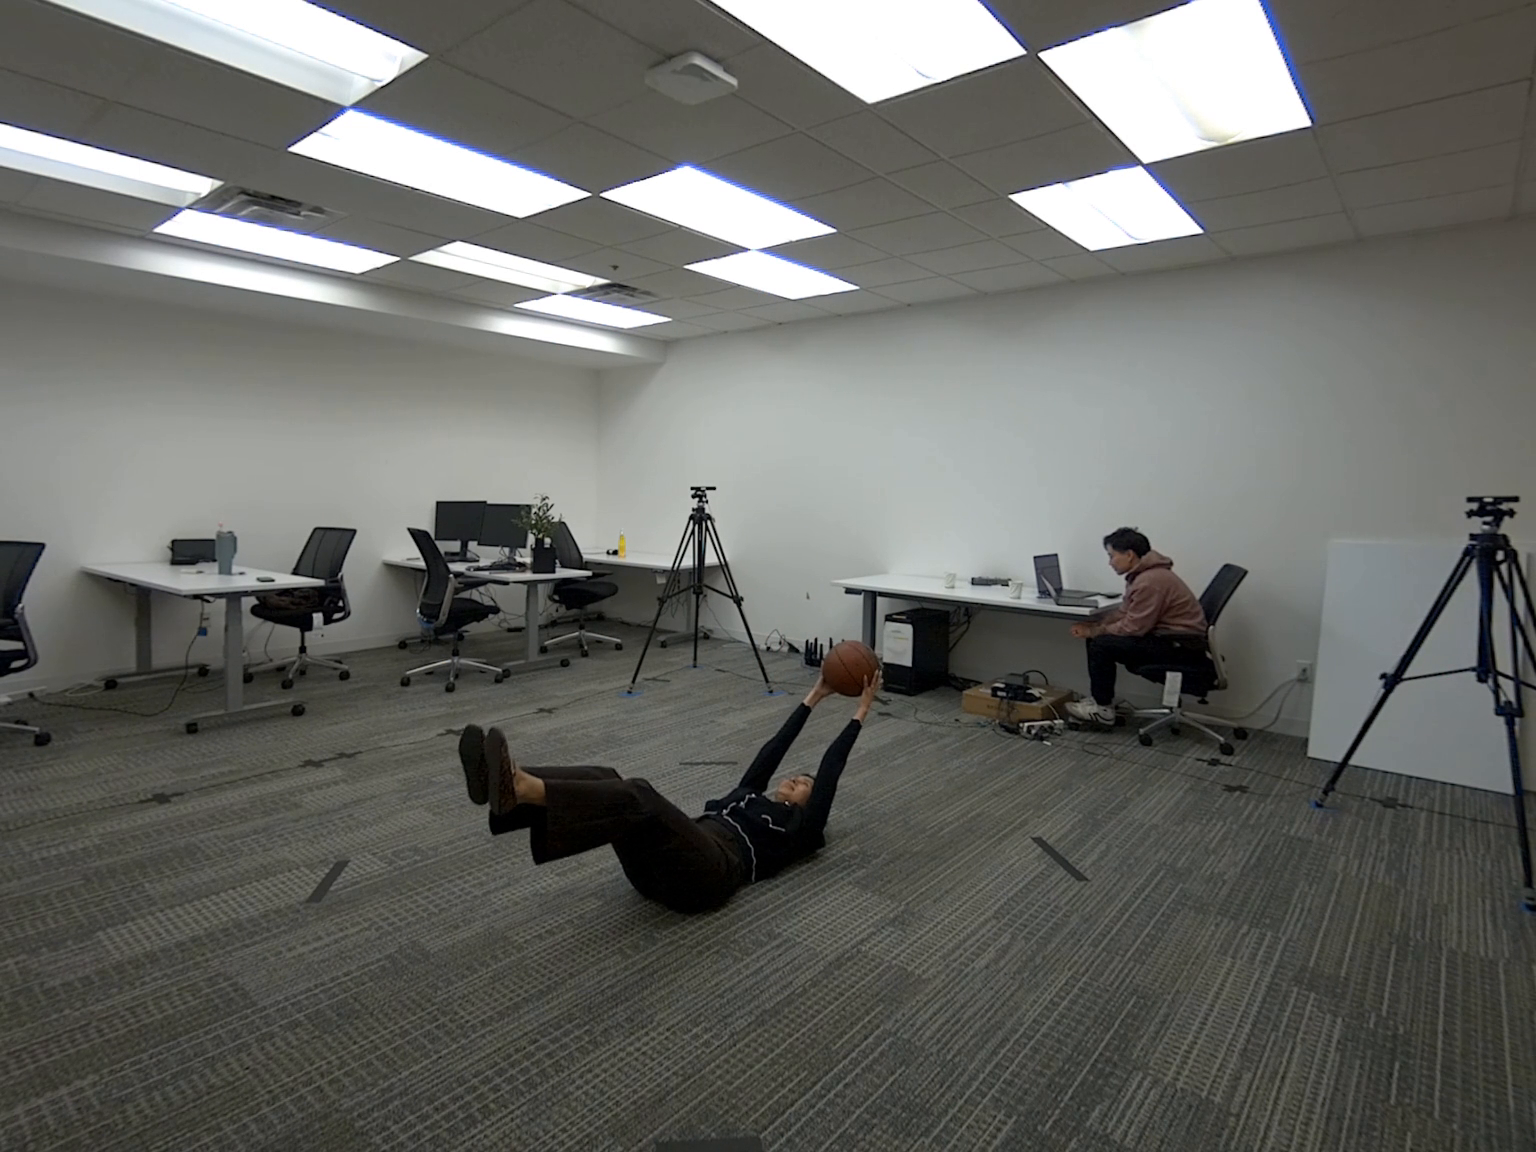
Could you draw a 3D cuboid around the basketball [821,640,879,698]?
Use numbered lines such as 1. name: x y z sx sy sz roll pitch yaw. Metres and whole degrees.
1. basketball: 0.344 0.382 3.575 0.236 0.235 0.237 1 4 -2
